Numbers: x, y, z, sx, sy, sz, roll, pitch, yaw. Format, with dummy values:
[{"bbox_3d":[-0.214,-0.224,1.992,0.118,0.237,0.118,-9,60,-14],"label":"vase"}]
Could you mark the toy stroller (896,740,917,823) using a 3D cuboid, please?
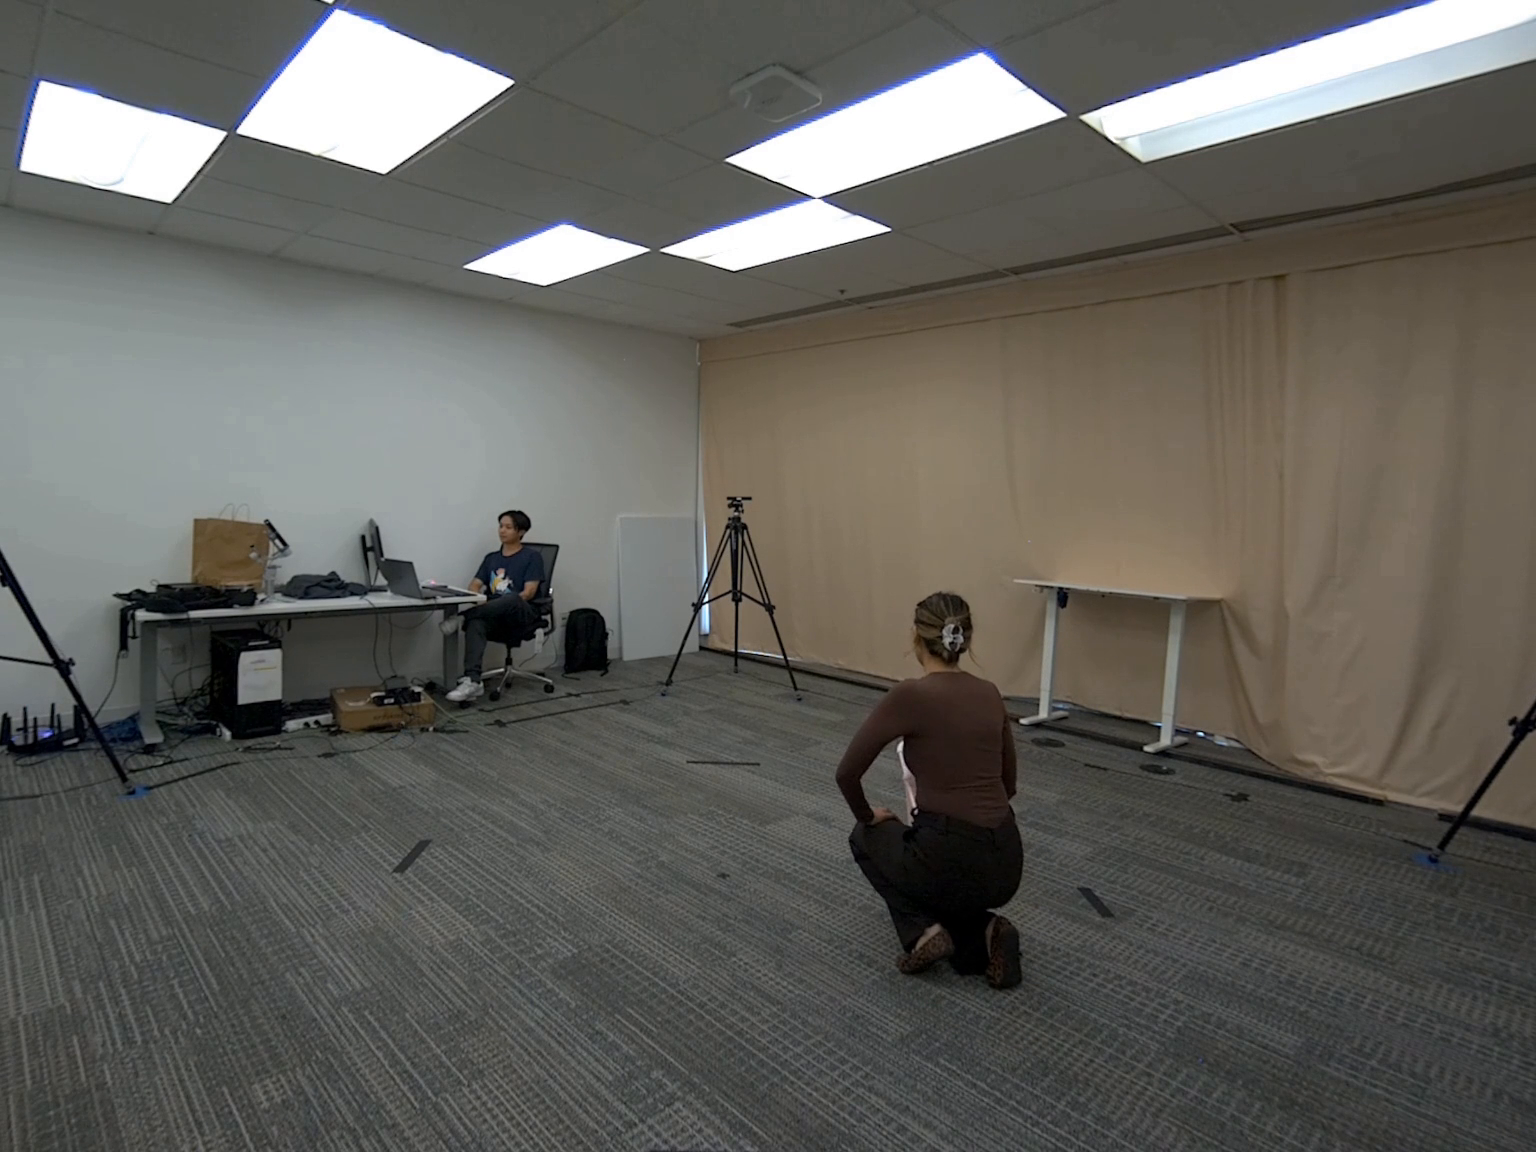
[{"bbox_3d":[0.634,0.896,3.216,0.281,0.540,0.338,1,-14,-1],"label":"toy stroller"}]
